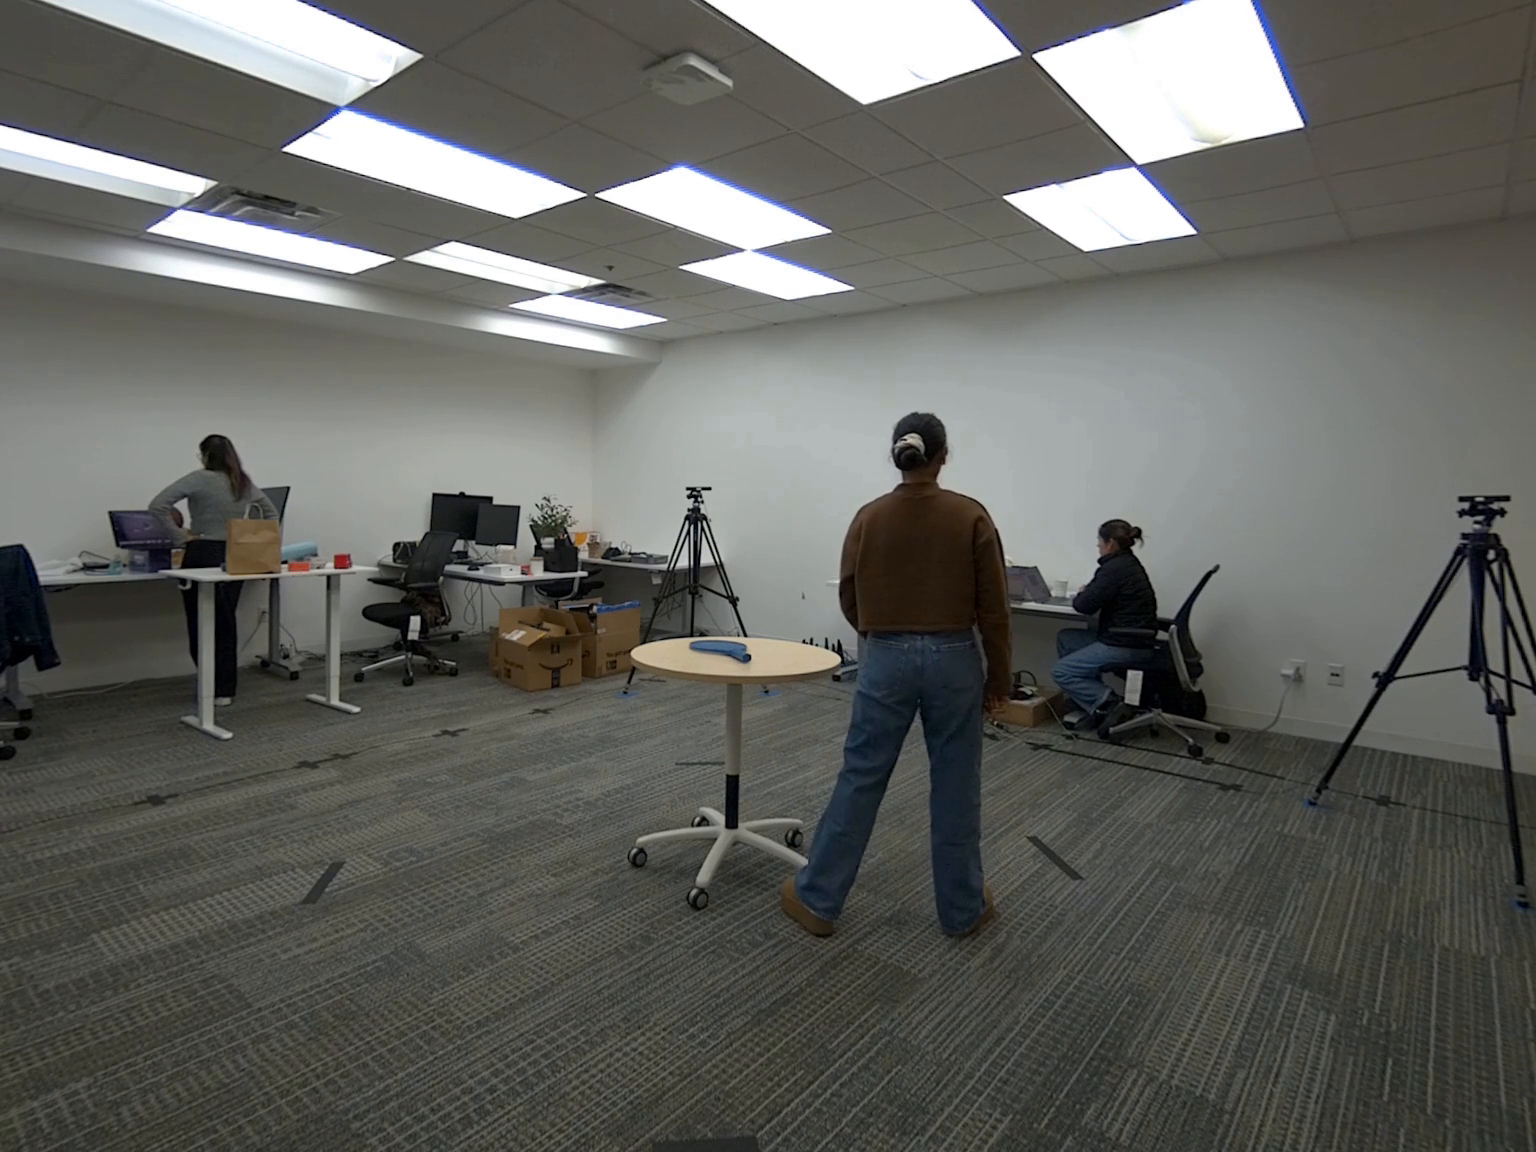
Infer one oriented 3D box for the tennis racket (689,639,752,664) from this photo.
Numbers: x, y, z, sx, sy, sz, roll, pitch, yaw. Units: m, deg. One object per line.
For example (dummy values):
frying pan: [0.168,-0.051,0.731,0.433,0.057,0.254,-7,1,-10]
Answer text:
tennis racket: [-0.172,0.270,3.152,0.210,0.032,0.442,0,4,-18]
